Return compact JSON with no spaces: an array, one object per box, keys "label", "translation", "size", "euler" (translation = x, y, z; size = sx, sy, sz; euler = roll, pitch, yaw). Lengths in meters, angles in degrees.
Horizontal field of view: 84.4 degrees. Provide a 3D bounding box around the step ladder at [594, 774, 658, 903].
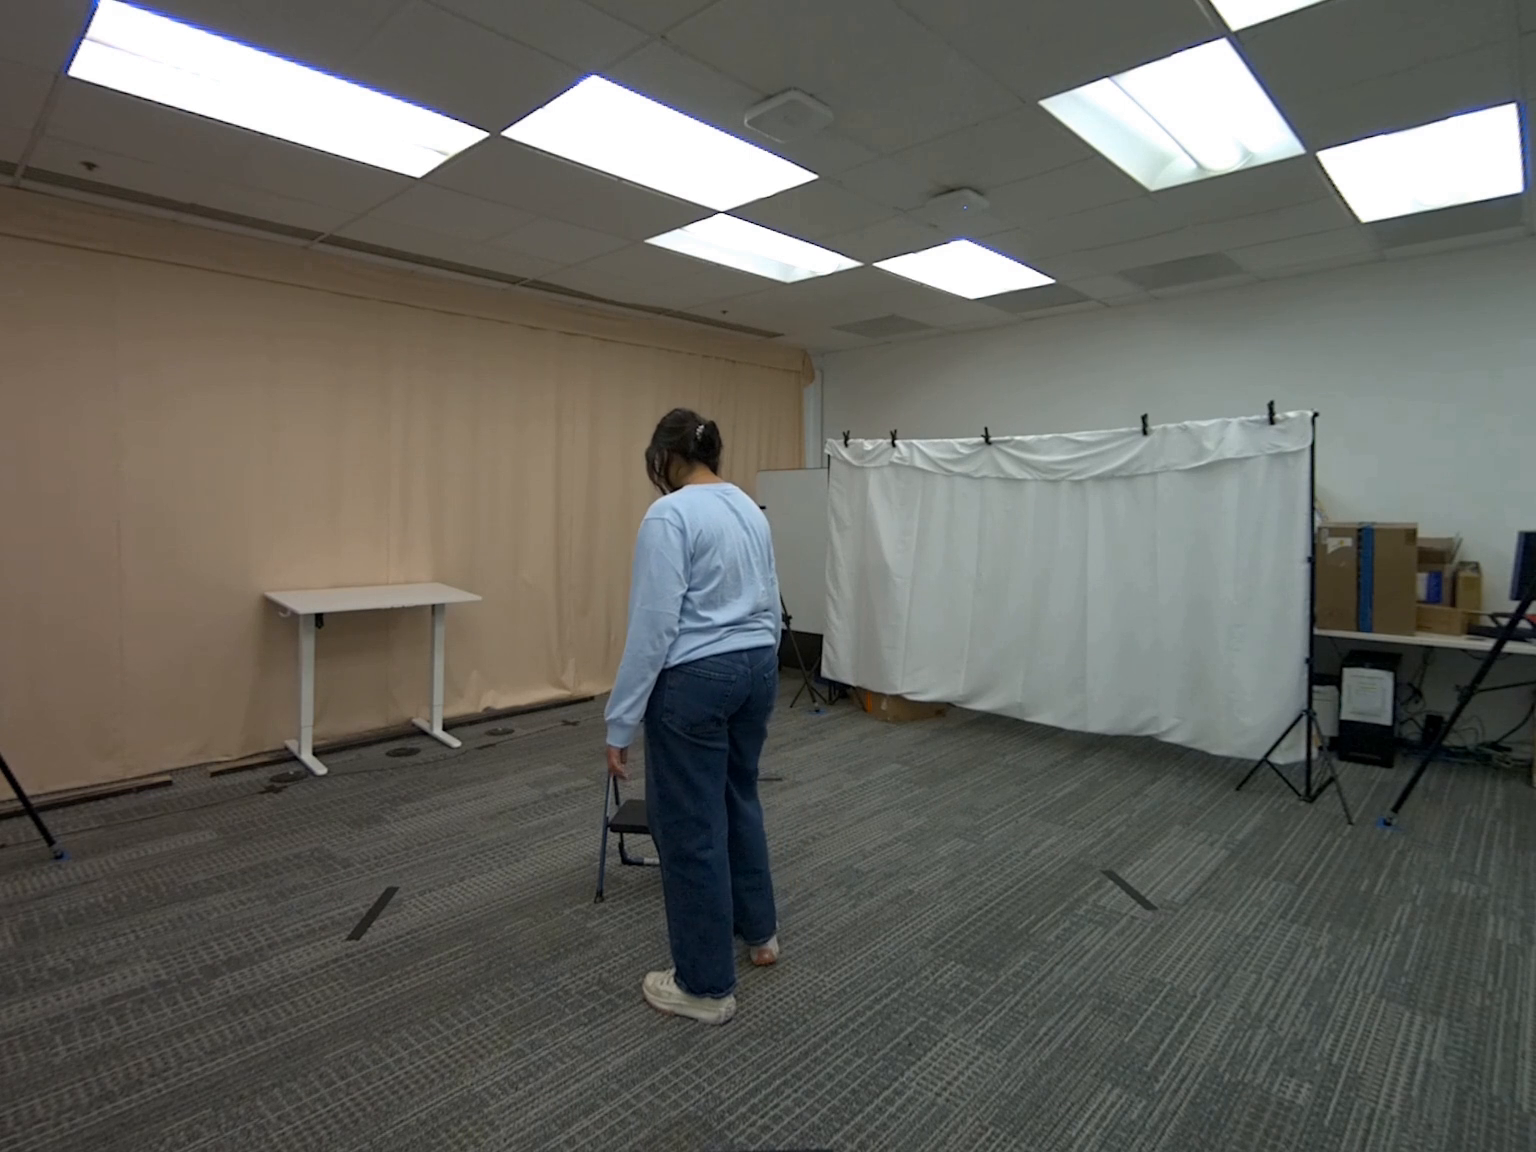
[{"label":"step ladder","translation":[-0.390,0.836,3.088],"size":[0.435,0.605,0.346],"euler":[0,3,9]}]
